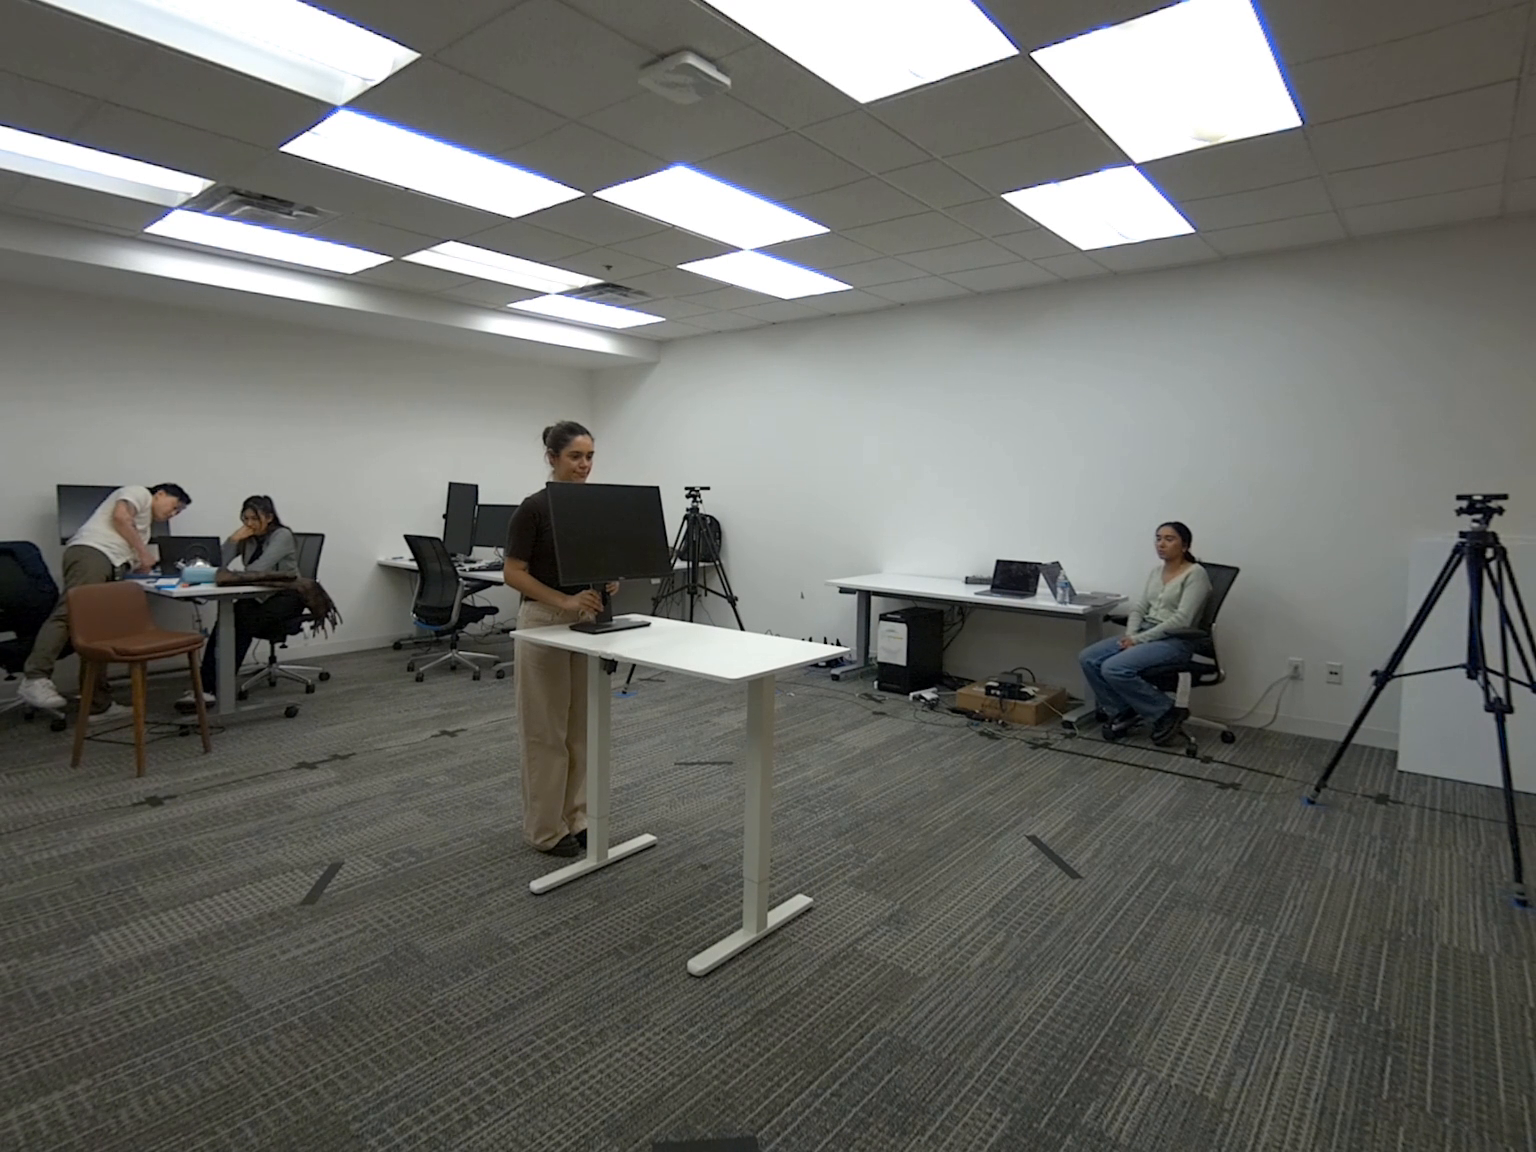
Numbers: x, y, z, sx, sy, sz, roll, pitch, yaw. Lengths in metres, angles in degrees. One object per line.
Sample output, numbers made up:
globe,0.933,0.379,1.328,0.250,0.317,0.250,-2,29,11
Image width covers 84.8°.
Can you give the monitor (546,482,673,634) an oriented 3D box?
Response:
monitor,-0.583,-0.073,3.036,0.180,0.514,0.514,7,5,36
